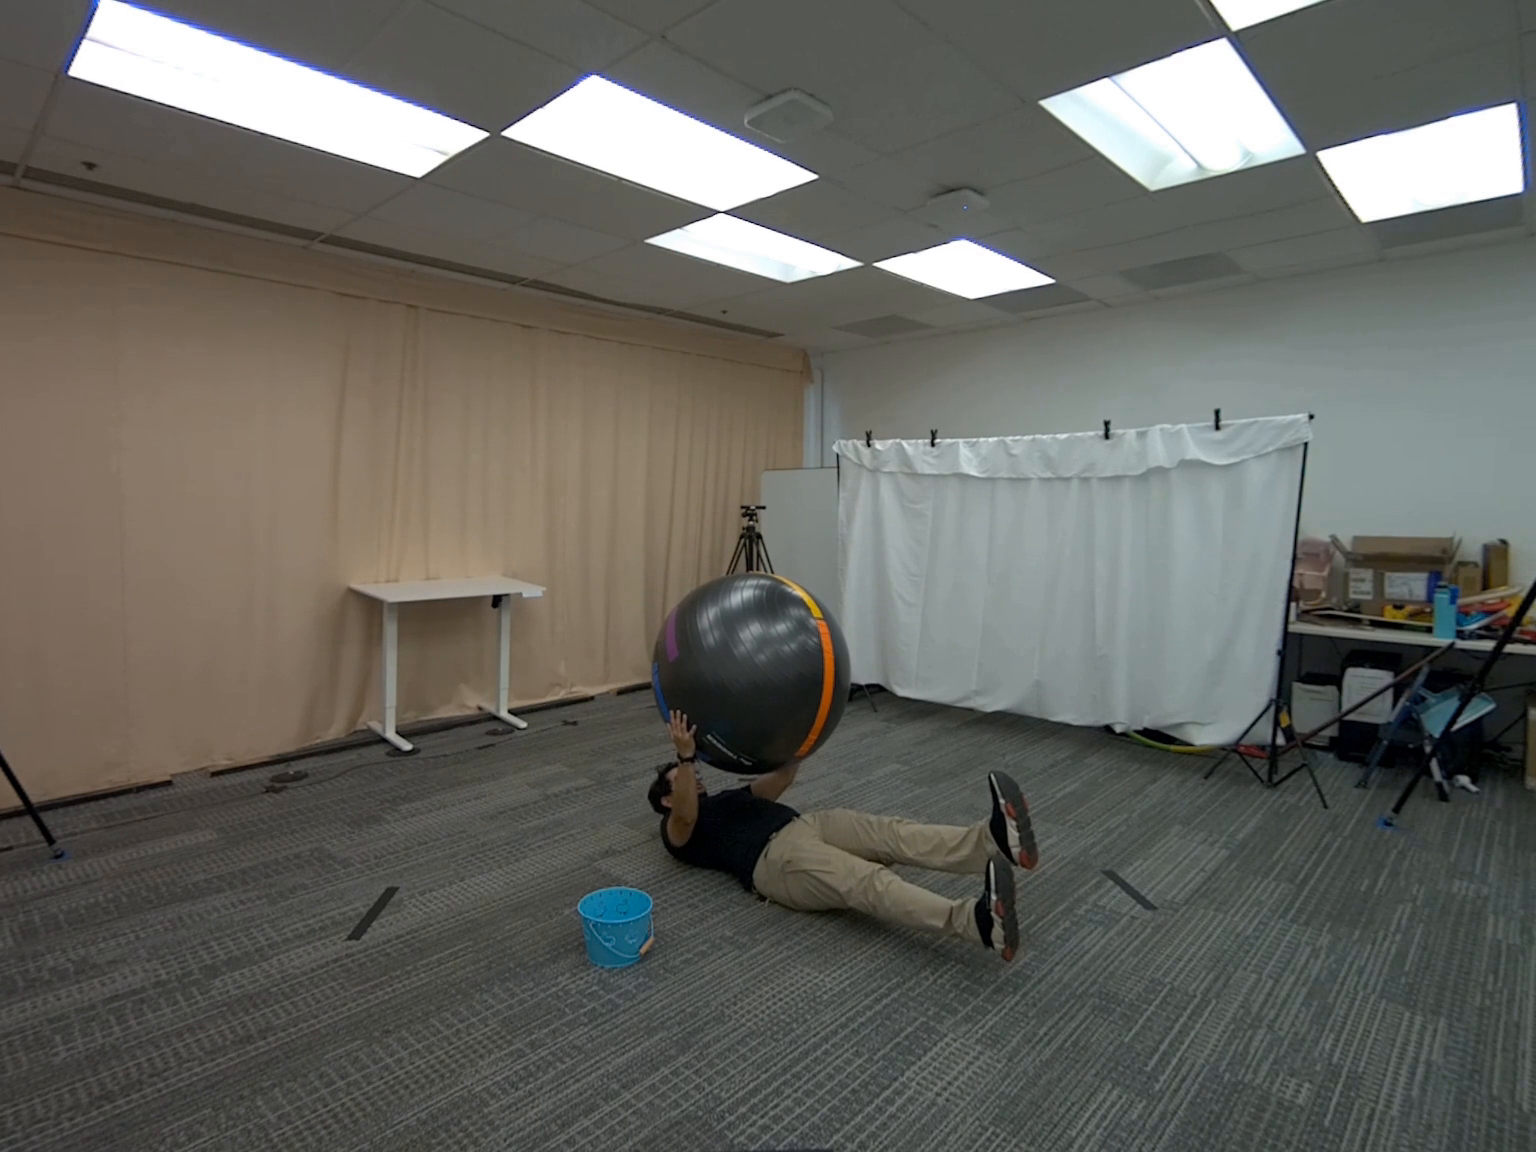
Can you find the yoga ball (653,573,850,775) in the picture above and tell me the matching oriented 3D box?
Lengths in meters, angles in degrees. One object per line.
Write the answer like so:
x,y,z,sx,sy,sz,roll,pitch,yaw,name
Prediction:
-0.060,0.370,3.211,0.757,0.756,0.761,0,4,-2,yoga ball
